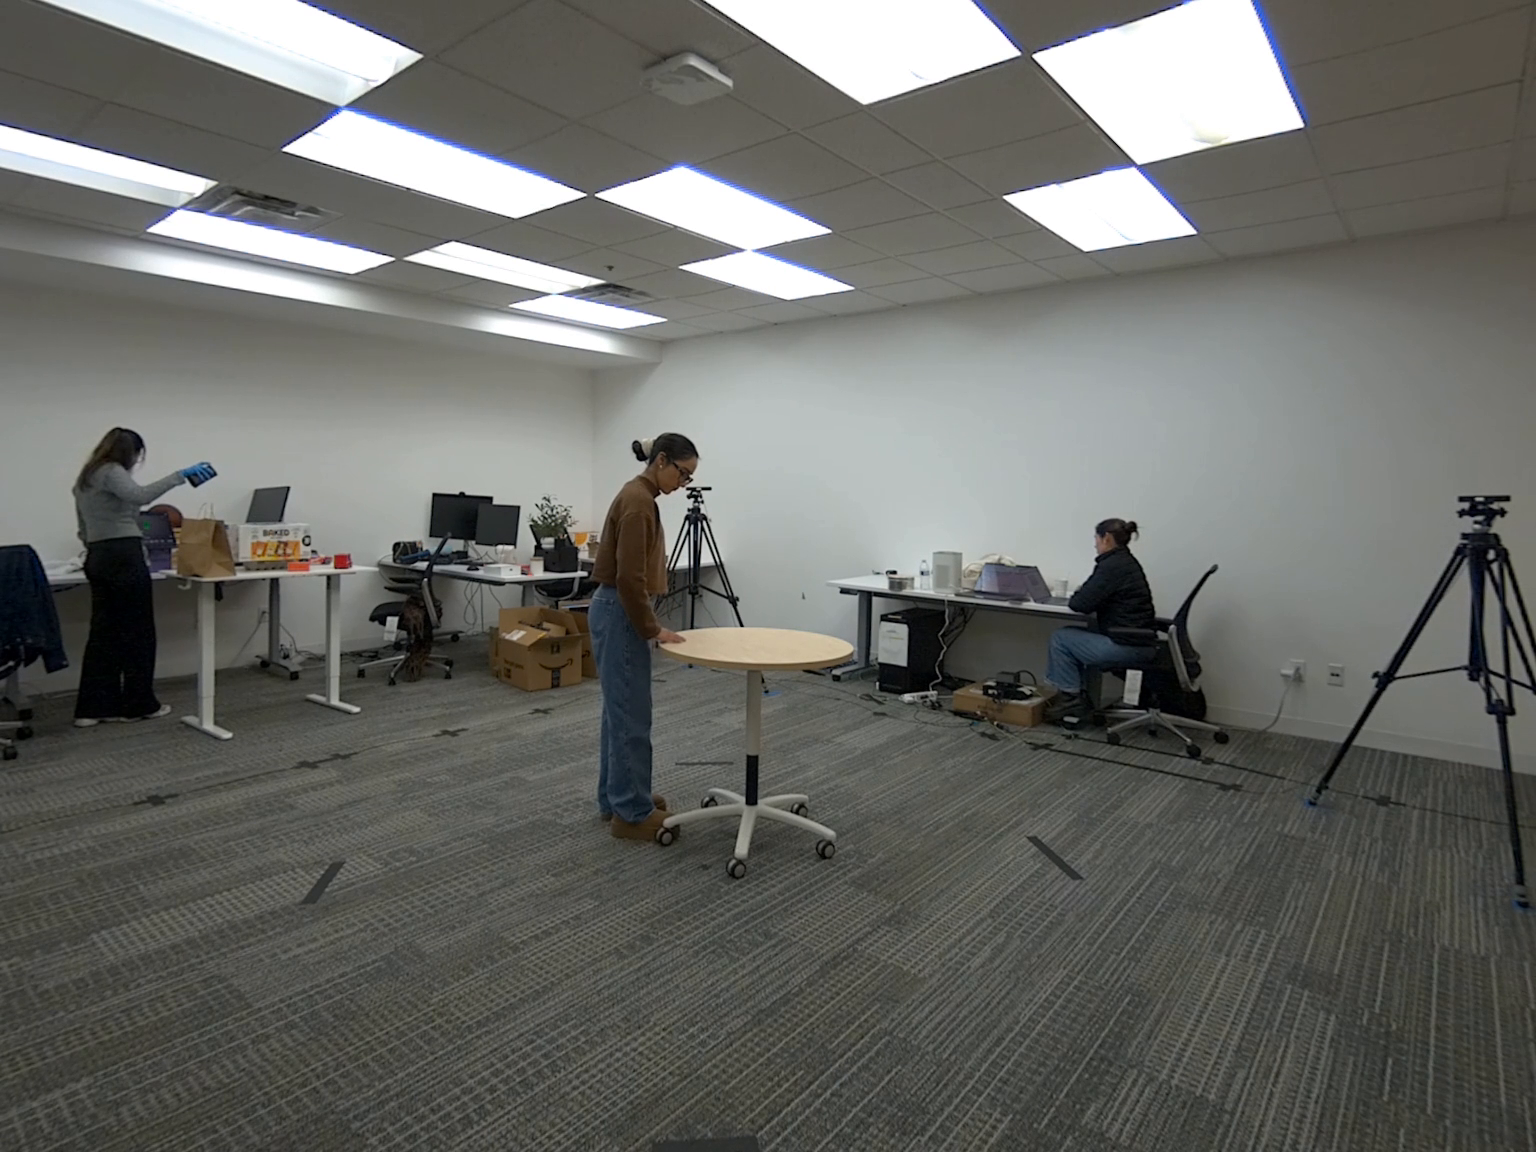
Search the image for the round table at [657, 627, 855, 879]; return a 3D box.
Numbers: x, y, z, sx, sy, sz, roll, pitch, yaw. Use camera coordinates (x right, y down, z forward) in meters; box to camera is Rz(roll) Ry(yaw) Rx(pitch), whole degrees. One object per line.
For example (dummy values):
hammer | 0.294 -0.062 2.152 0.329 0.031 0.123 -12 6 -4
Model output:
round table | -0.070 0.655 3.364 0.763 0.791 0.768 1 4 -2
